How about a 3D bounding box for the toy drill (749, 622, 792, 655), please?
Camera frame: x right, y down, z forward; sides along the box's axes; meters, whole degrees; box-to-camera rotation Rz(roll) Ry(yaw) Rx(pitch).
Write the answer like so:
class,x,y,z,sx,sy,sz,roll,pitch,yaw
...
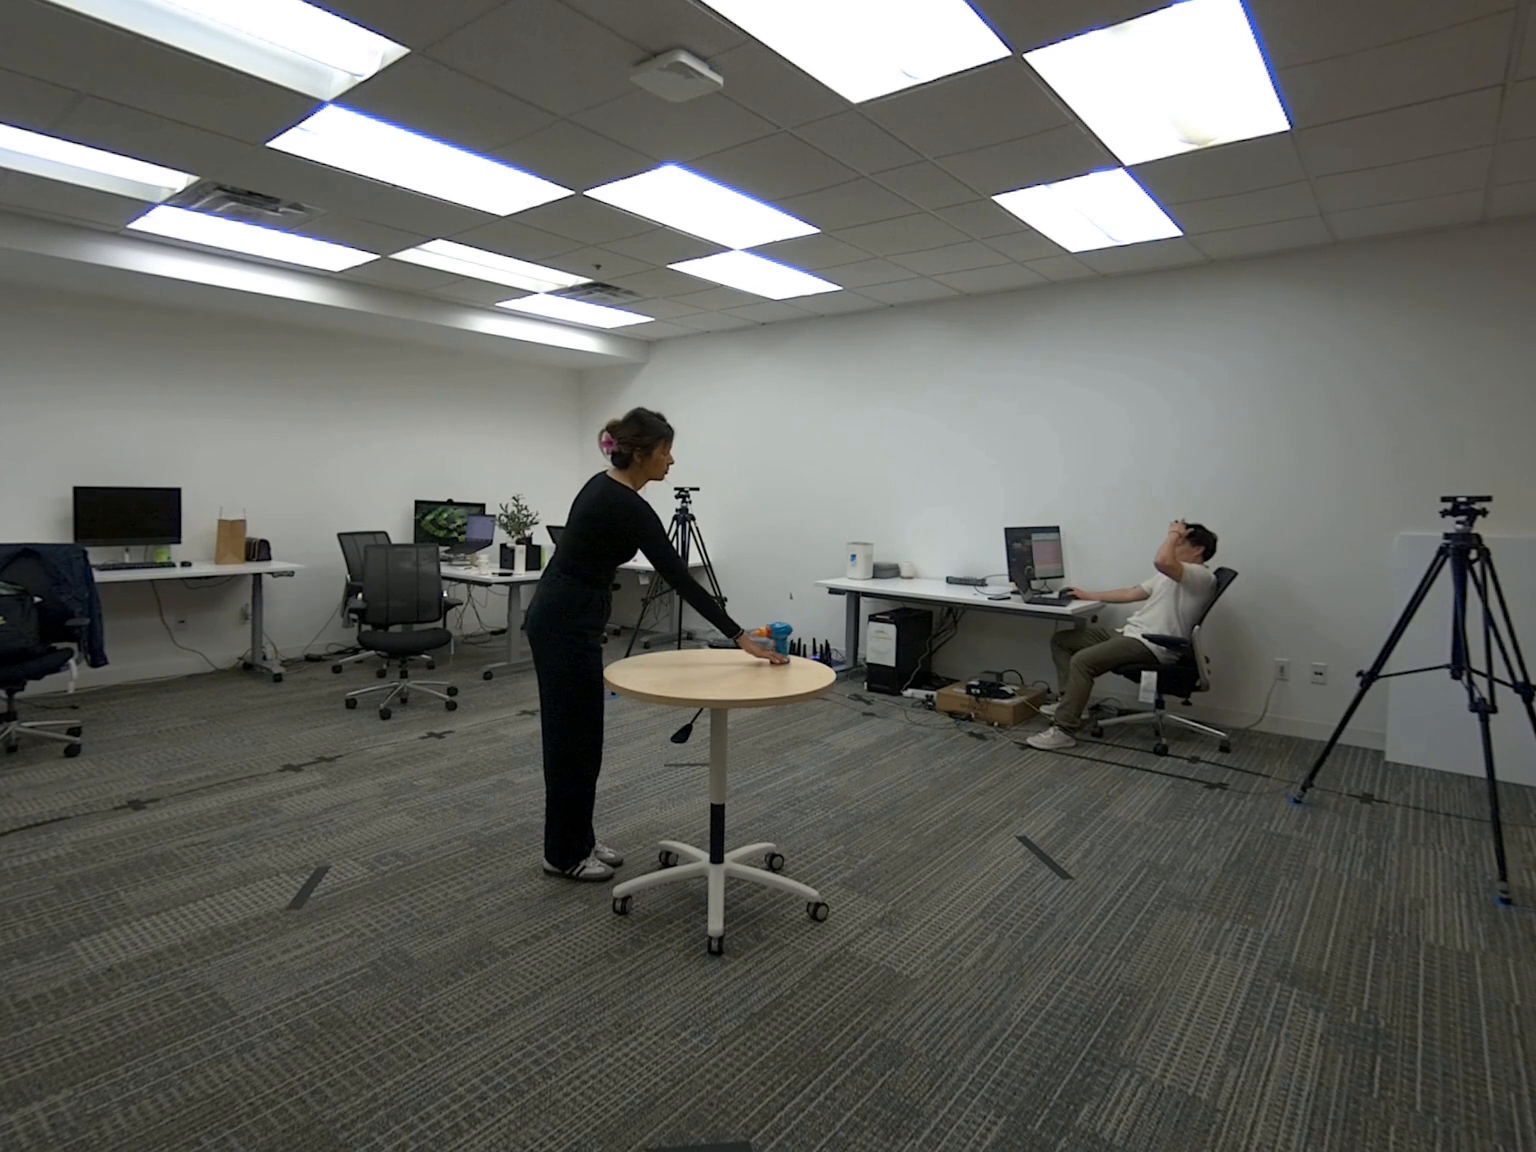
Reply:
class,x,y,z,sx,sy,sz,roll,pitch,yaw
toy drill,-0.010,0.233,2.929,0.165,0.145,0.063,-4,7,-29
